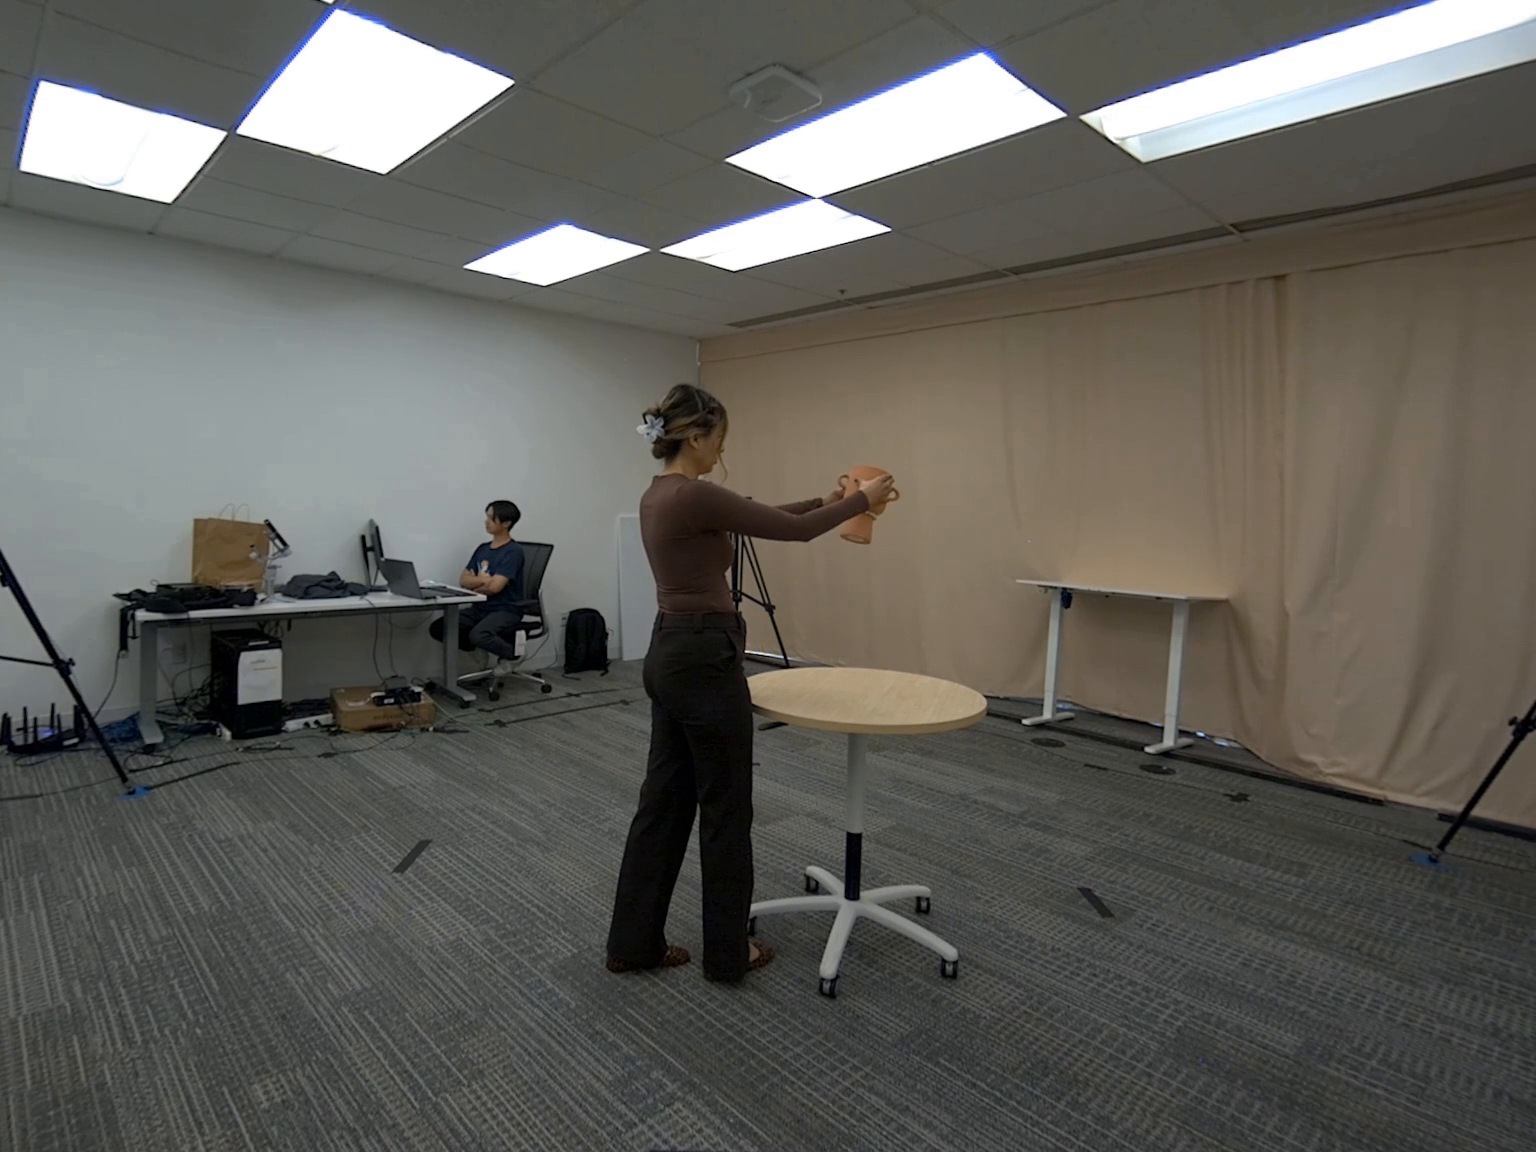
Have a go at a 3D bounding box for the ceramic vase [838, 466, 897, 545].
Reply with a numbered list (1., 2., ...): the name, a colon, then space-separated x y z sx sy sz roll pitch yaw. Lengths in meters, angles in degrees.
1. ceramic vase: 0.286 -0.214 2.603 0.163 0.221 0.130 9 -12 38
